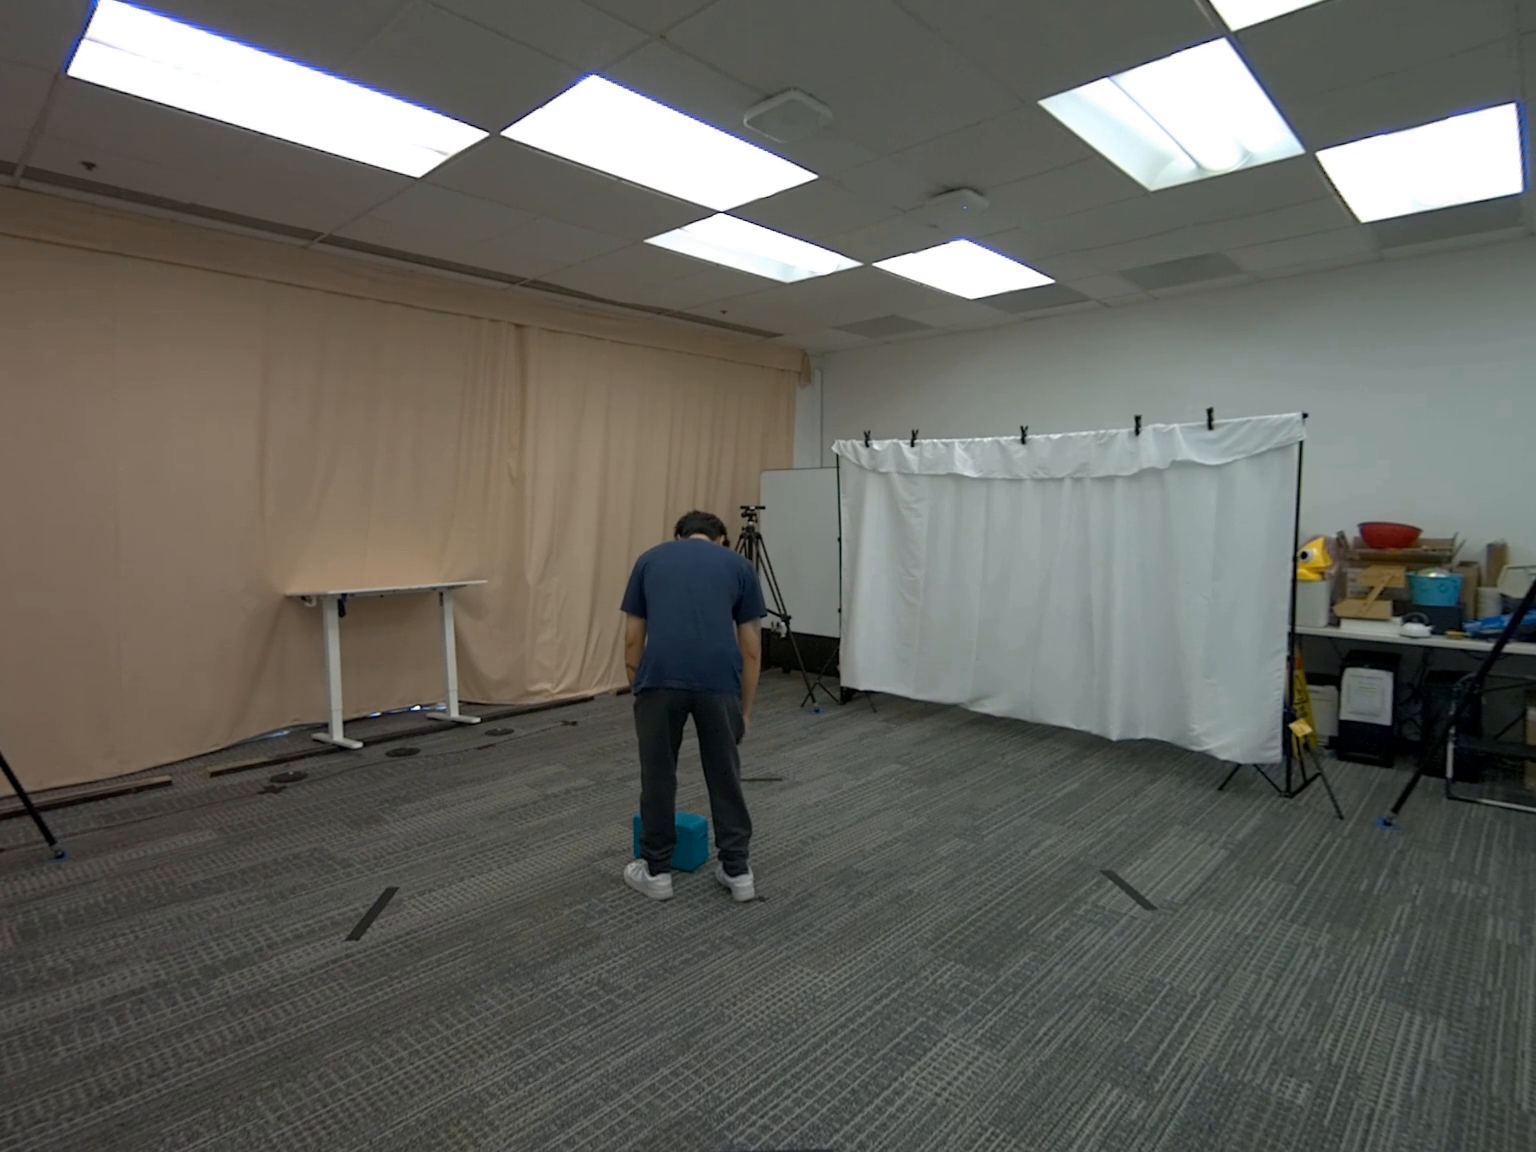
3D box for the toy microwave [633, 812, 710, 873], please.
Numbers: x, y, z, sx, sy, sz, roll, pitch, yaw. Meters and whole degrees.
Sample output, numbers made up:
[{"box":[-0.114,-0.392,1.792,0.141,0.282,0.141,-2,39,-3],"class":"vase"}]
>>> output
[{"box":[-0.377,1.028,3.308,0.294,0.184,0.148,1,4,29],"class":"toy microwave"}]
